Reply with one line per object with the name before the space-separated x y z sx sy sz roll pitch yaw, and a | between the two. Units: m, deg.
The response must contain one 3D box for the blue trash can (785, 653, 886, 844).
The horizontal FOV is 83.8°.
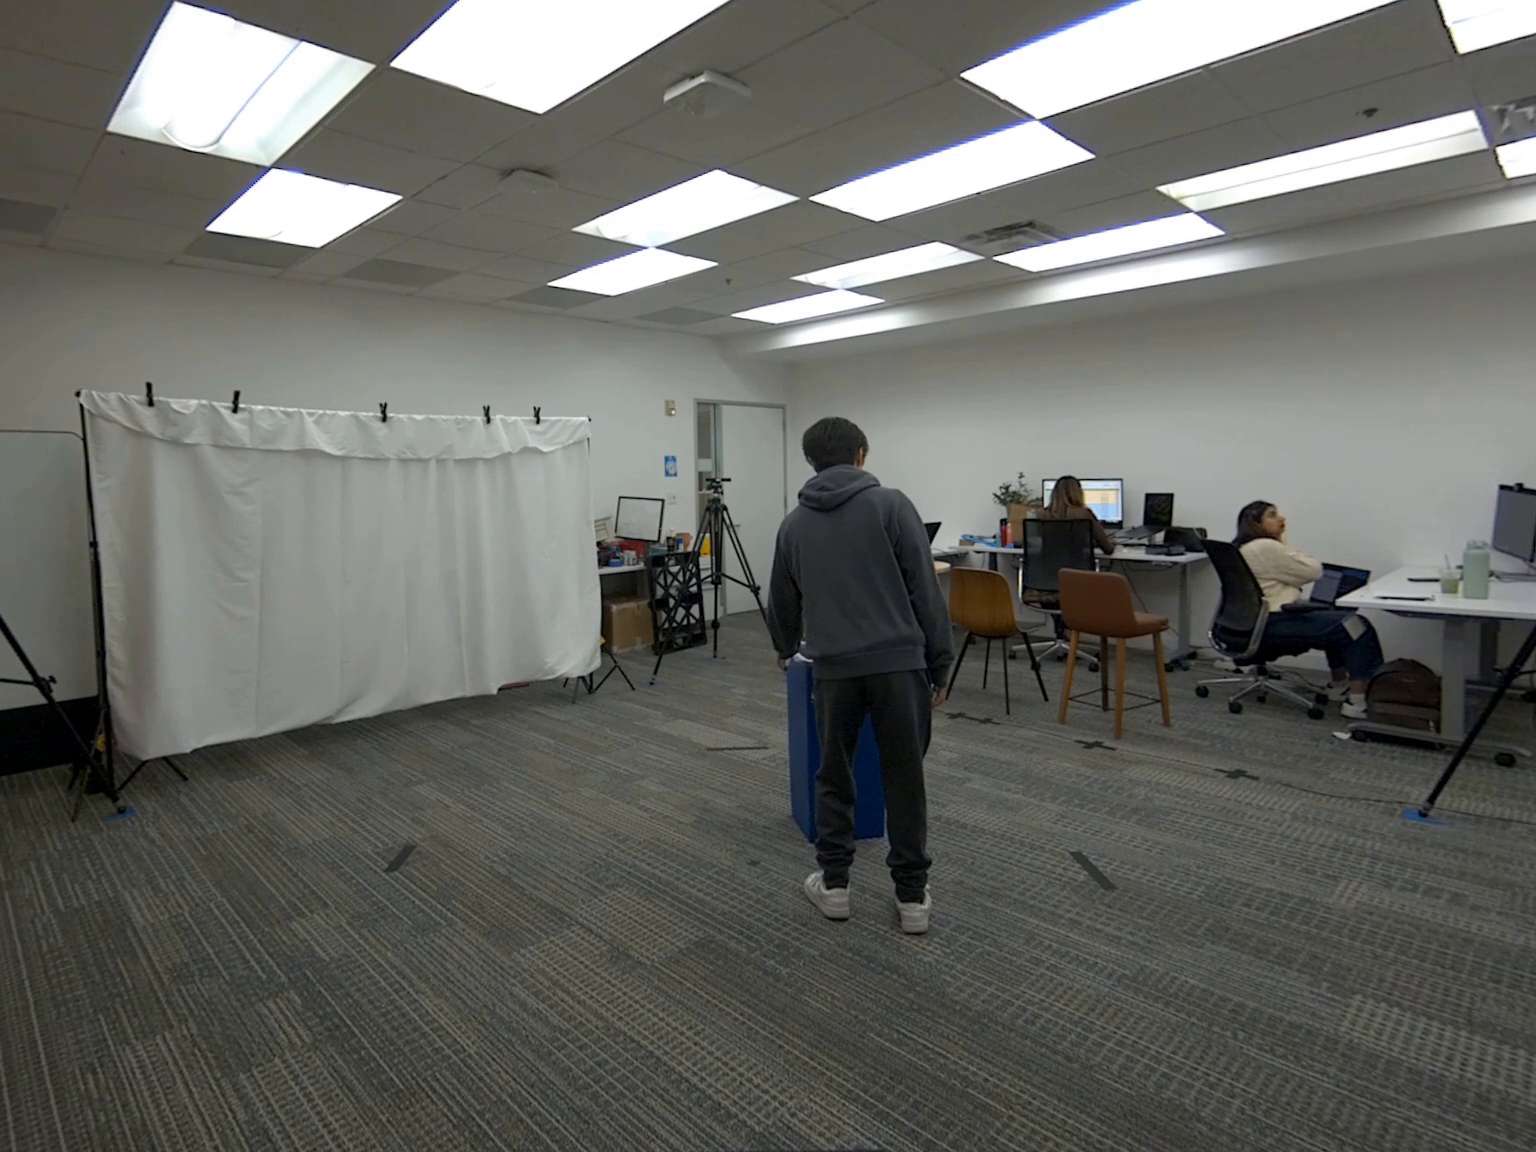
blue trash can | 0.283 0.647 3.411 0.370 0.711 0.383 -1 4 -11
